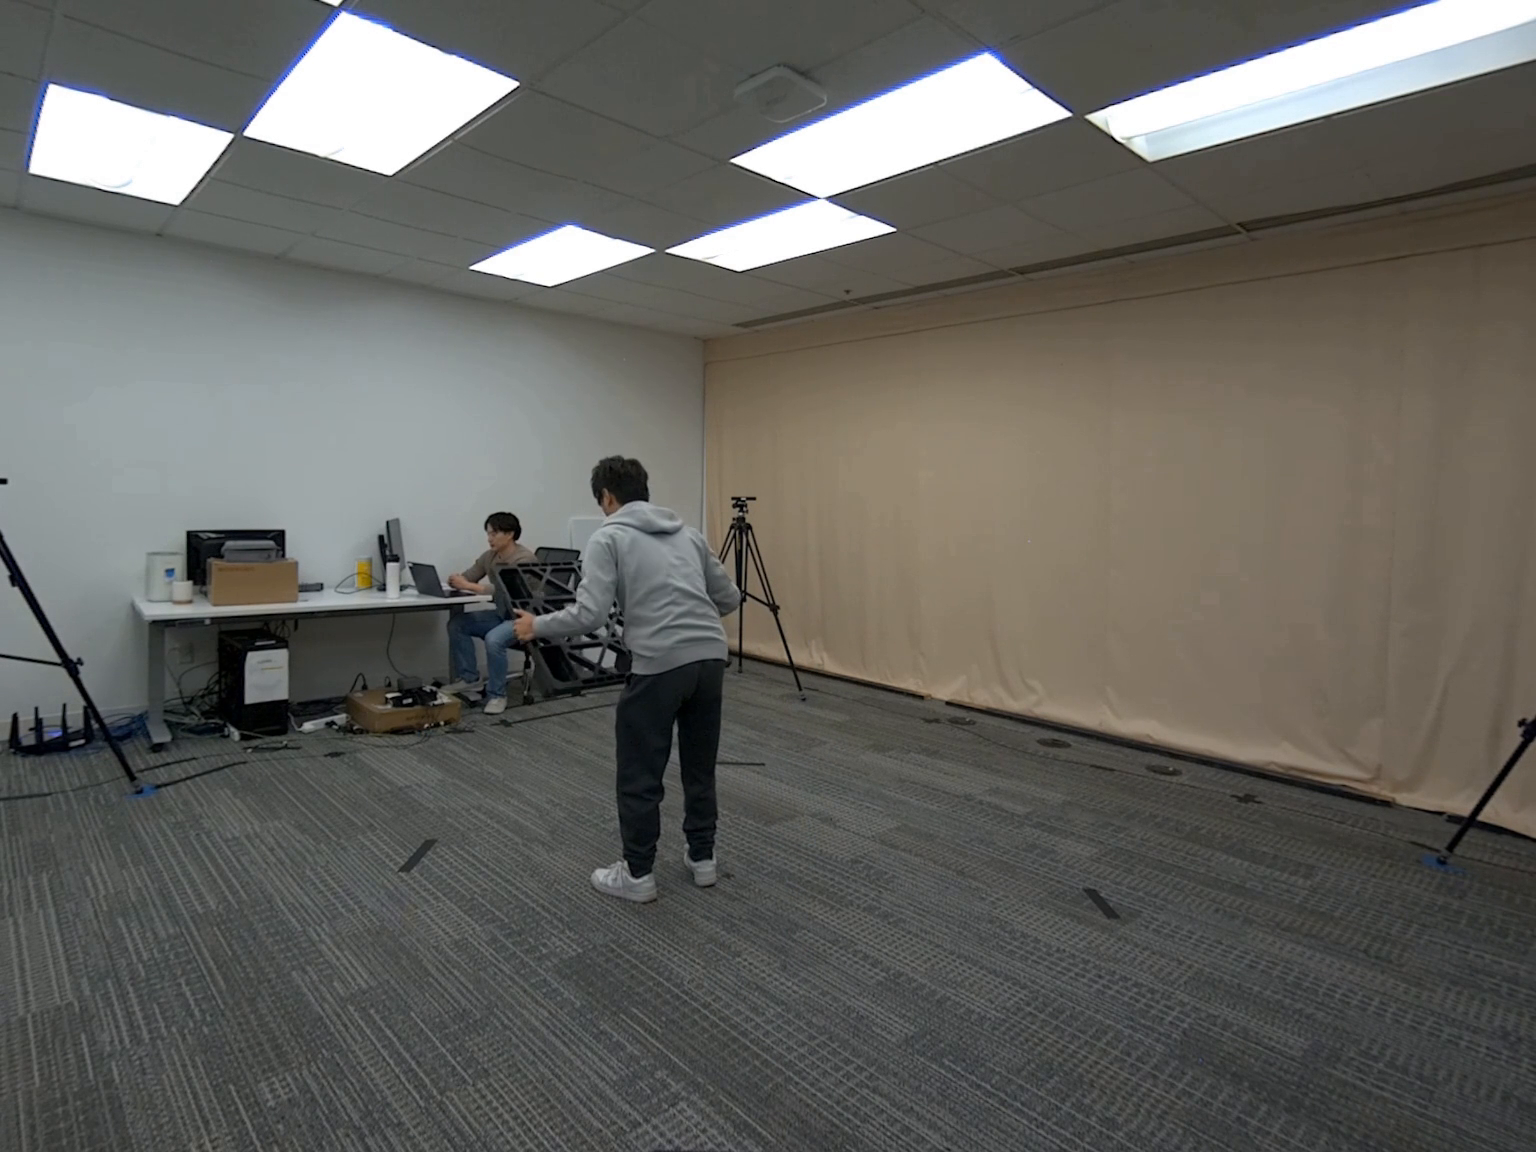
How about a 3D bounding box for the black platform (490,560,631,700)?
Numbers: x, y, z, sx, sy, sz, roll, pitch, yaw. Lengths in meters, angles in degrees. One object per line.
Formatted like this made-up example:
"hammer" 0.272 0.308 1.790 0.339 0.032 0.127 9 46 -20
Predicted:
"black platform" -0.603 0.198 3.194 0.787 0.142 0.622 -3 46 -43
